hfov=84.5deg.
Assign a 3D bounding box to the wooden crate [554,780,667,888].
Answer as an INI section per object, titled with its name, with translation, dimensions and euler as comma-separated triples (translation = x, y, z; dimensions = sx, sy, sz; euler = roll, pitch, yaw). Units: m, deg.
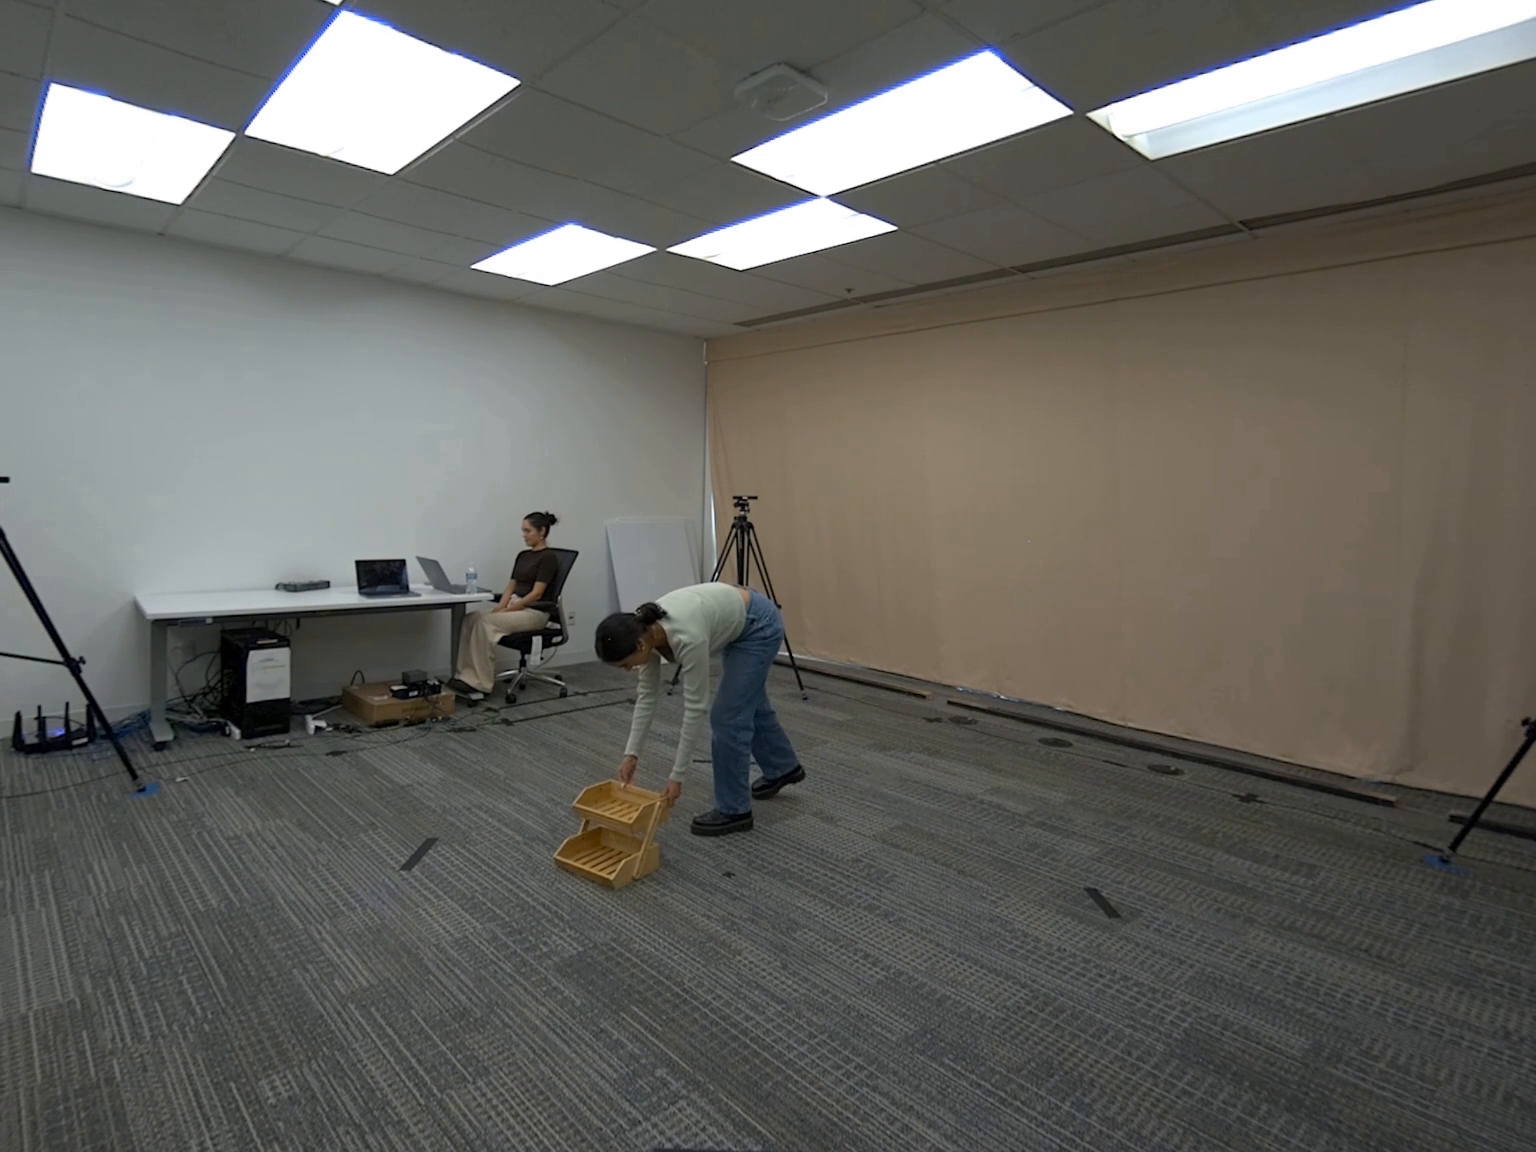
[wooden crate]
translation = -0.594, 0.957, 3.146
dimensions = 0.332, 0.273, 0.295
euler = 4, 4, 34
